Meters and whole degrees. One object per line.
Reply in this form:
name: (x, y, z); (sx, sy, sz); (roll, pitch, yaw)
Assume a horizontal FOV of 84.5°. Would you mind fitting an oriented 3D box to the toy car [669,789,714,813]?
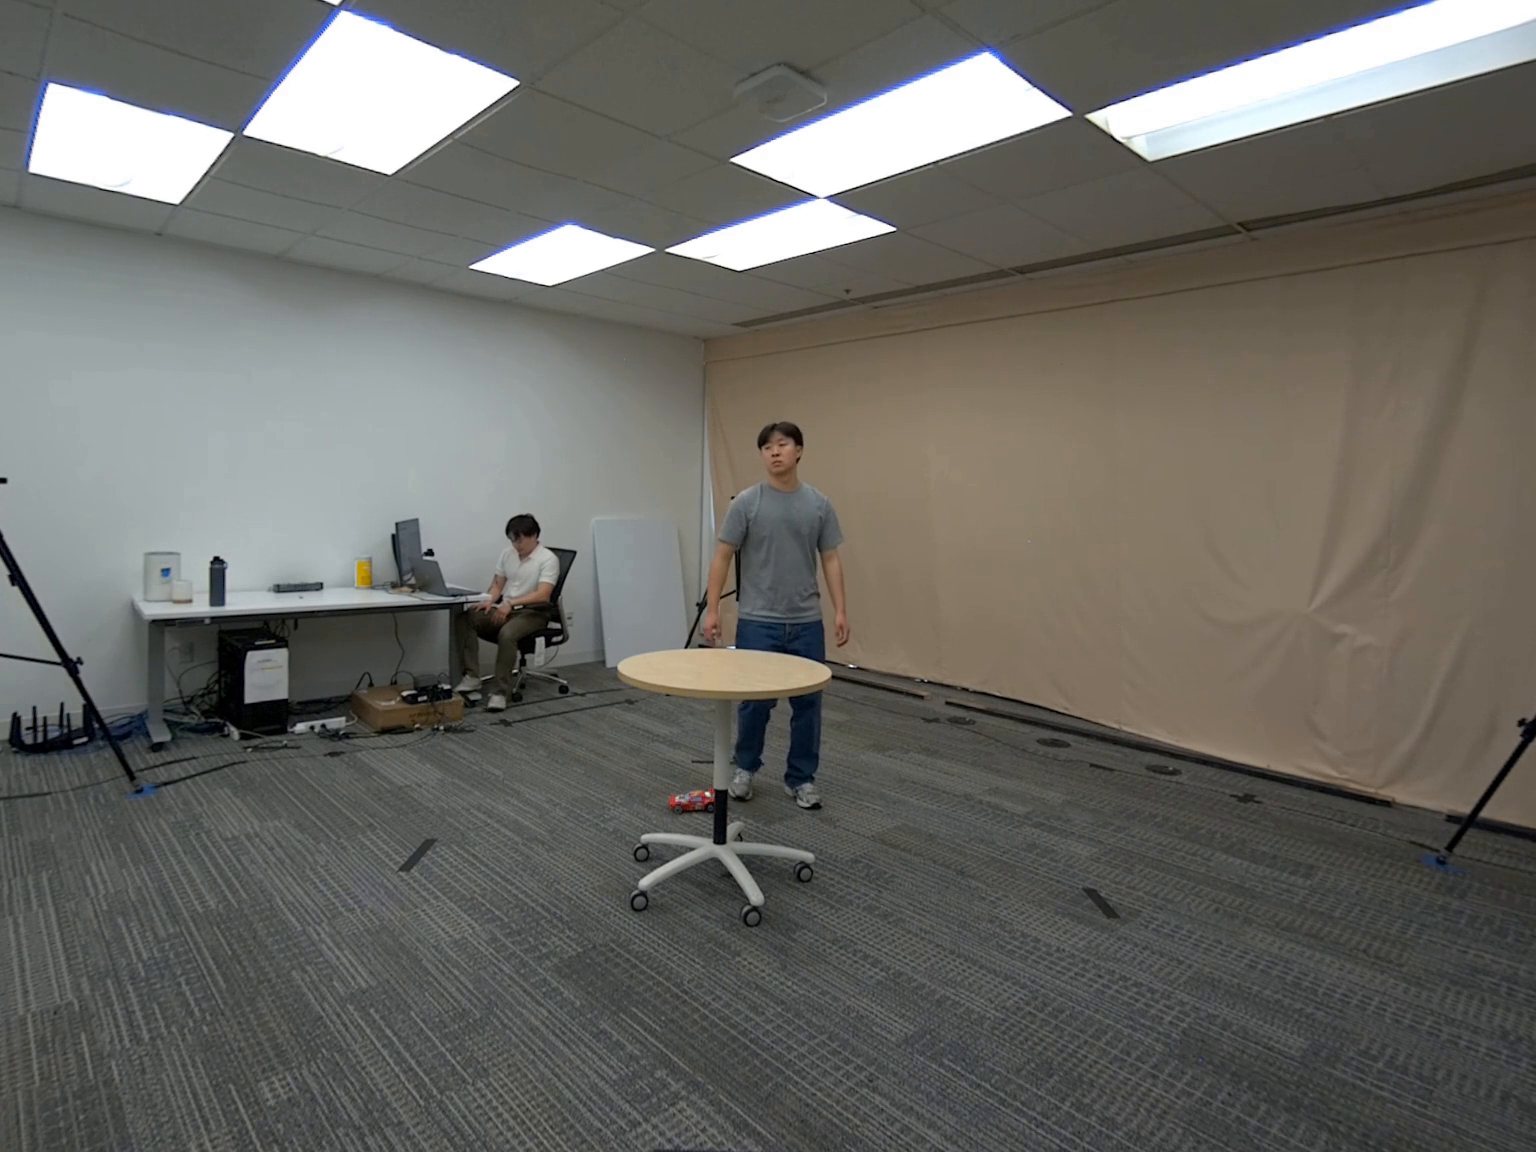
toy car: (-0.324, 1.012, 3.769); (0.253, 0.083, 0.132); (-11, 7, -9)
